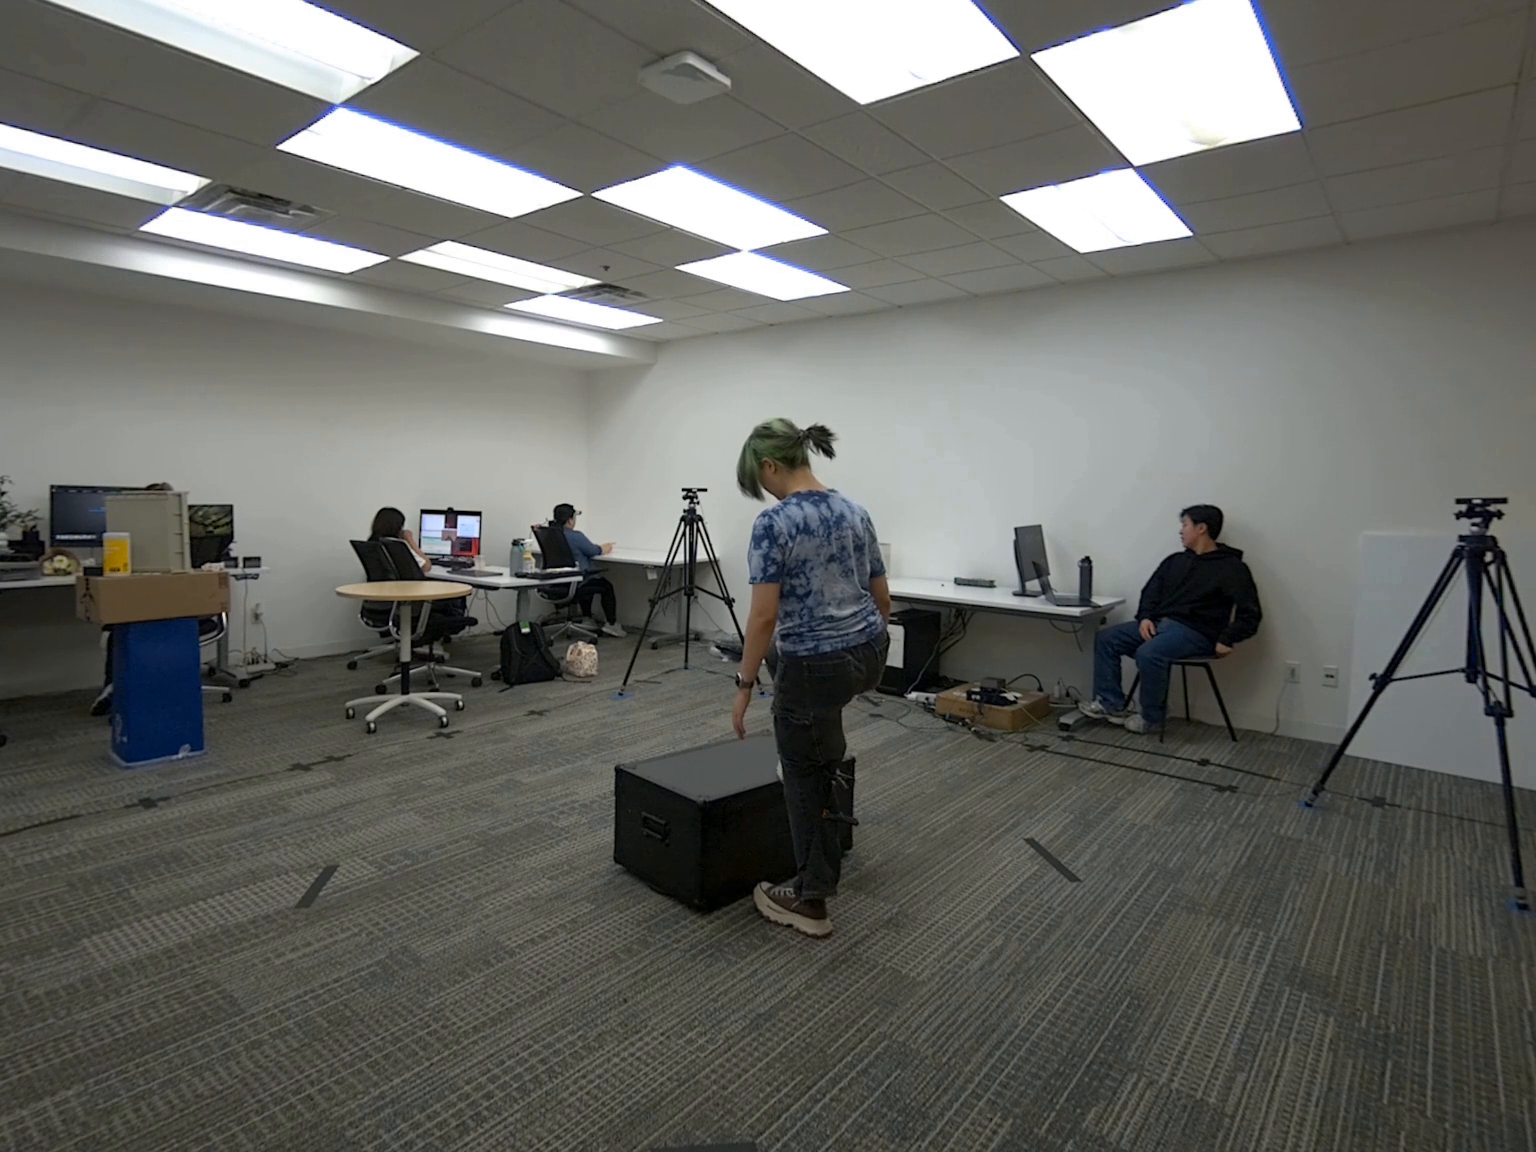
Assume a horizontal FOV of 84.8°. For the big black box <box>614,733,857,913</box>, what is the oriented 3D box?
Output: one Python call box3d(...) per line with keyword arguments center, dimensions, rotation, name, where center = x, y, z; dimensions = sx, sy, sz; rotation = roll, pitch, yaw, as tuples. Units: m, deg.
box3d(center=(-0.102, 0.872, 3.192), dimensions=(0.836, 0.395, 0.539), rotation=(-5, 7, -44), name="big black box")
